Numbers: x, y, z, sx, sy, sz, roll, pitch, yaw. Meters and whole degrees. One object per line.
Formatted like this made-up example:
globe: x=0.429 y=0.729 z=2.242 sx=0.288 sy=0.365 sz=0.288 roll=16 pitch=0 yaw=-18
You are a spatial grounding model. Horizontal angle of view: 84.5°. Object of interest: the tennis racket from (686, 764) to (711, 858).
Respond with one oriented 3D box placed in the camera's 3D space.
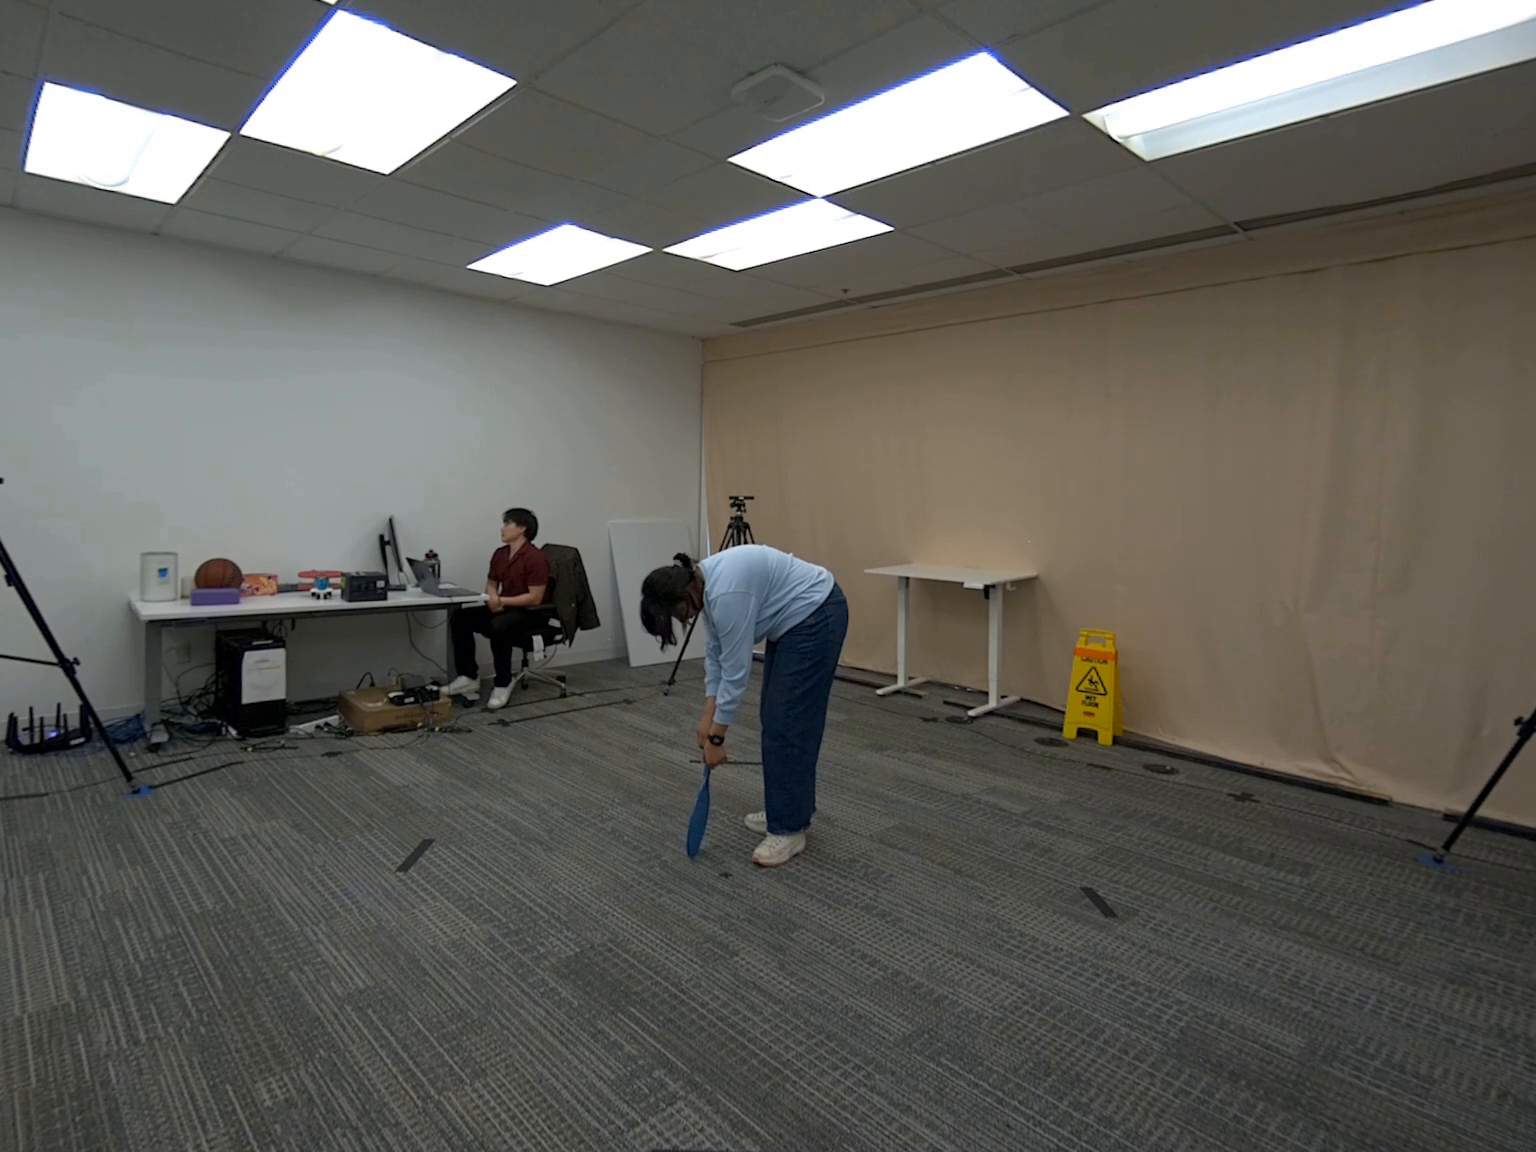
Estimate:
tennis racket: x=-0.246 y=0.882 z=3.273 sx=0.032 sy=0.434 sz=0.210 roll=10 pitch=-7 yaw=15
